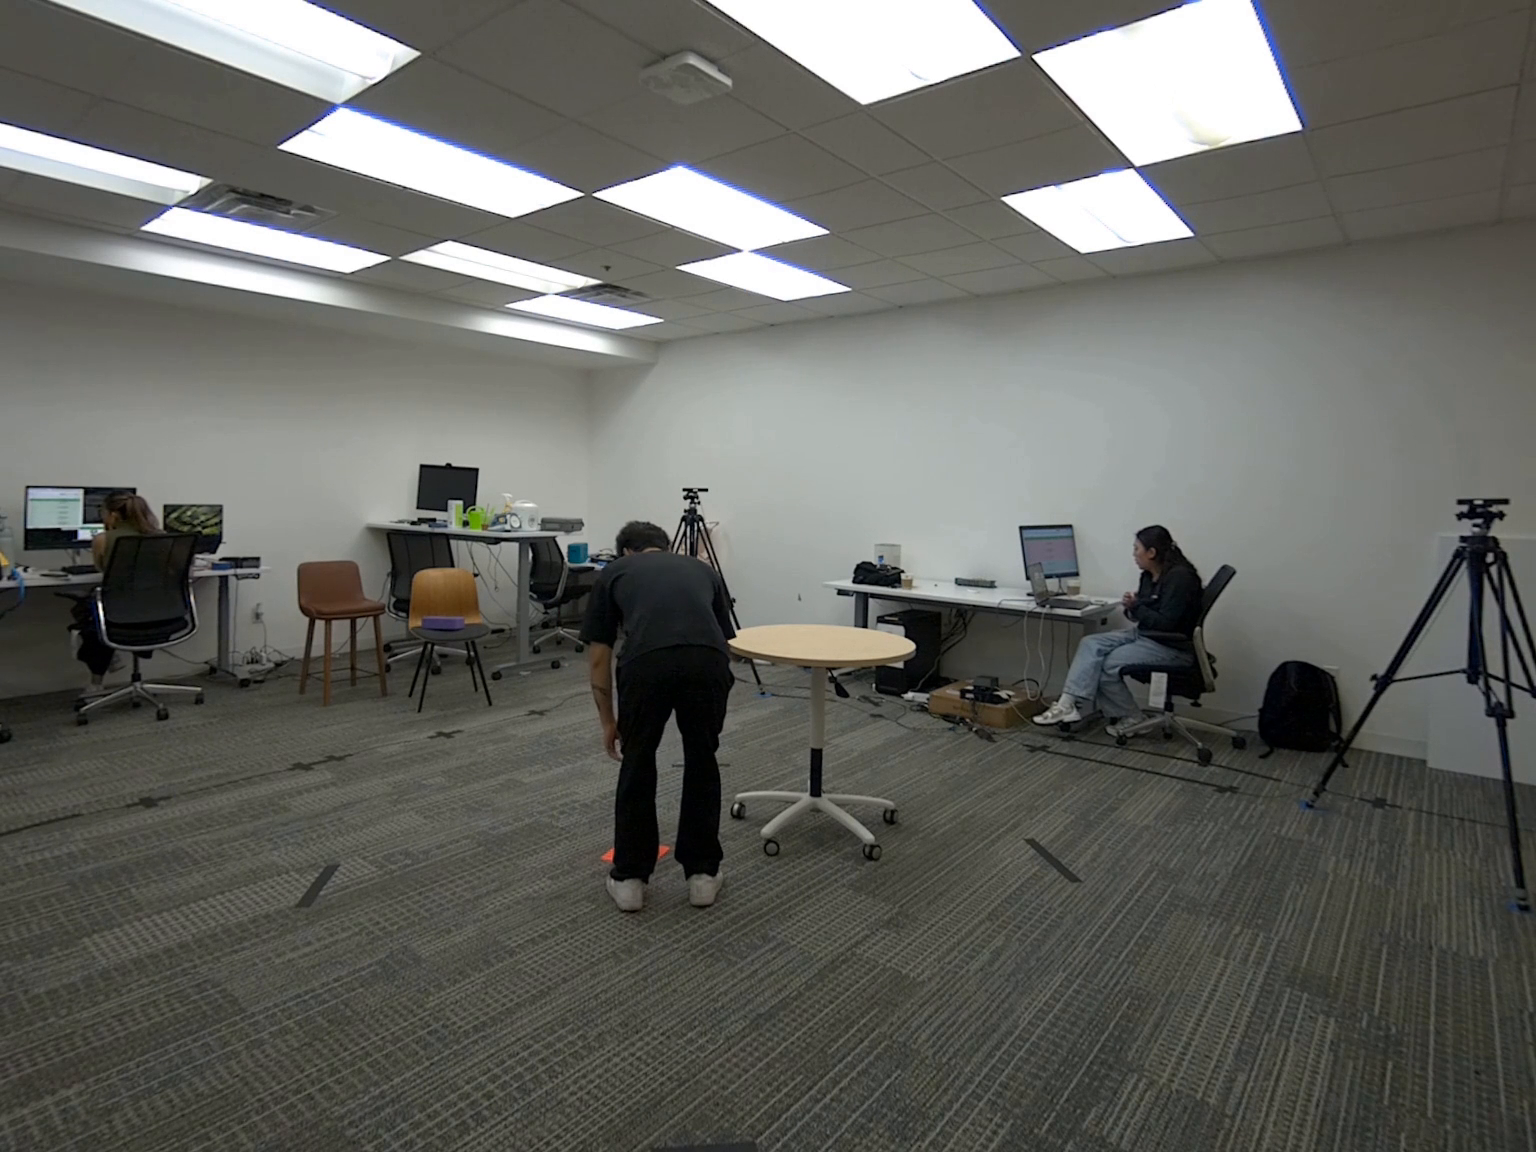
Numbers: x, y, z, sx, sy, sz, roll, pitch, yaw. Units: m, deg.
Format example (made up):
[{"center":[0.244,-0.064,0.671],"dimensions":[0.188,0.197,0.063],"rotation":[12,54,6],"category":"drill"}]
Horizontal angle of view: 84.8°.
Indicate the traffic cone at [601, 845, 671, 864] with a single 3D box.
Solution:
[{"center":[-0.501,0.866,3.222],"dimensions":[0.208,0.383,0.201],"rotation":[3,3,21],"category":"traffic cone"}]
